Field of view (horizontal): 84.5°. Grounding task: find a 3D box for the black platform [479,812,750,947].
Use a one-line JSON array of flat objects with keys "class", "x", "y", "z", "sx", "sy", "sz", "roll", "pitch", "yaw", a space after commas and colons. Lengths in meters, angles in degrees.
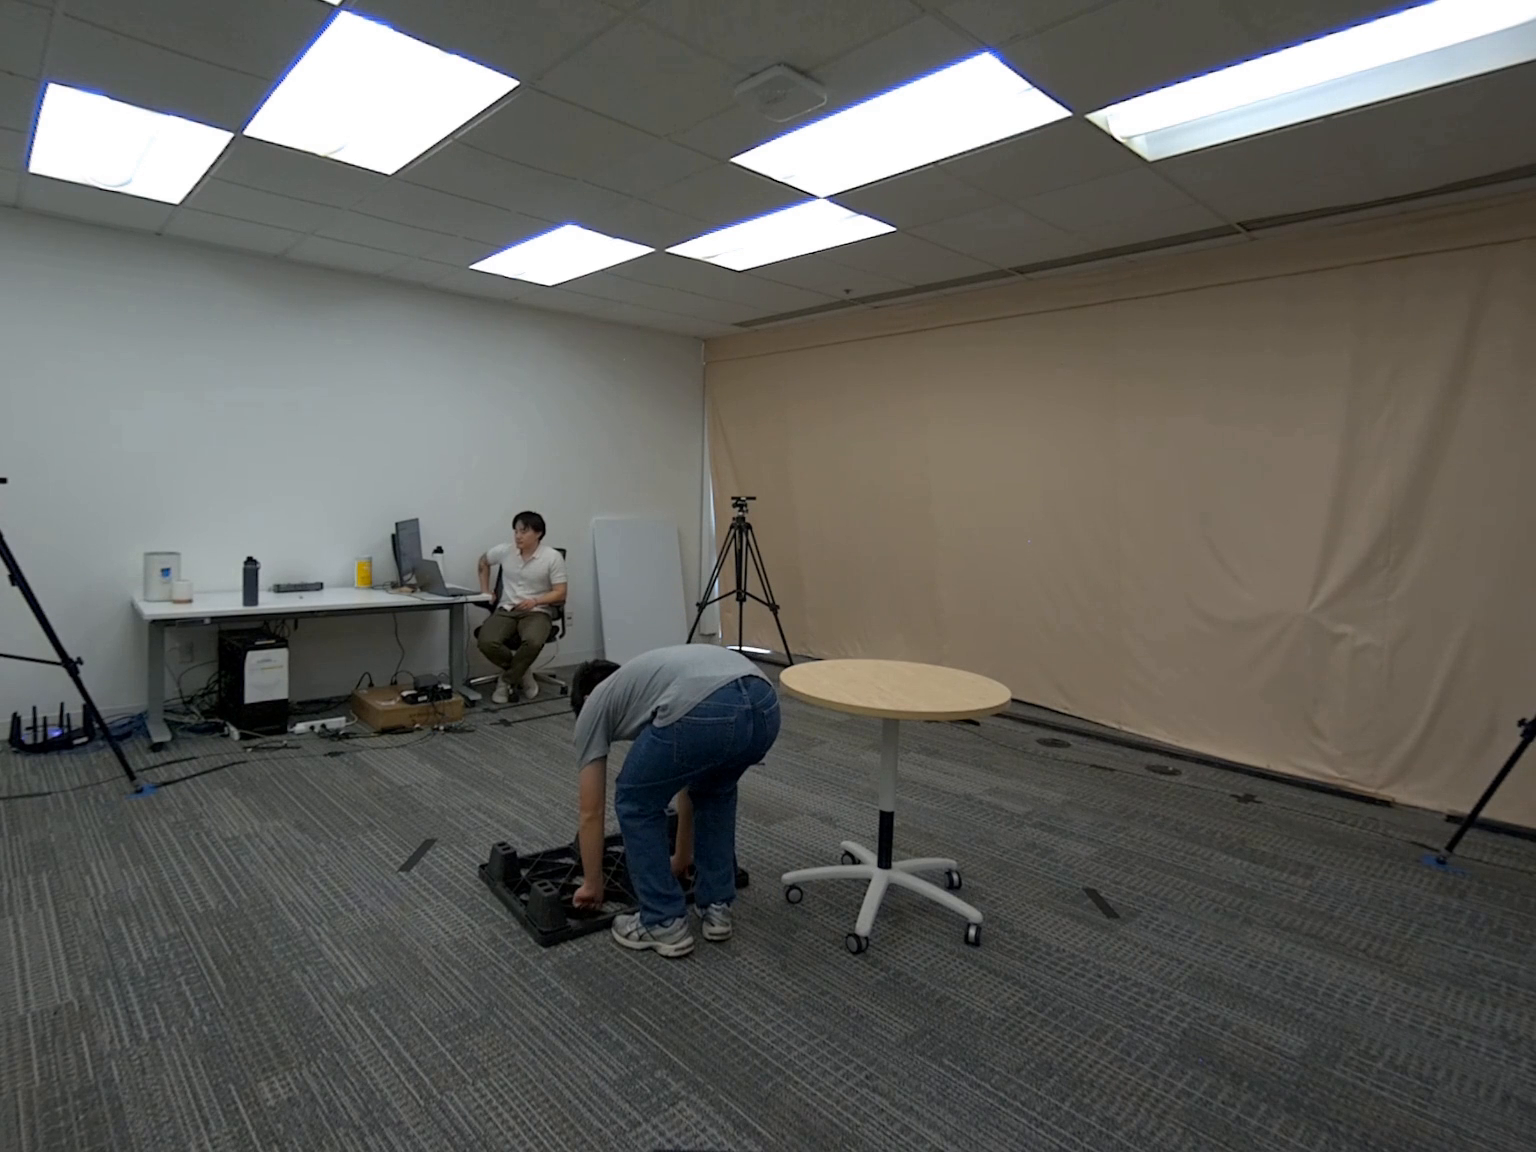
[{"class": "black platform", "x": -0.562, "y": 1.039, "z": 3.038, "sx": 0.788, "sy": 0.143, "sz": 0.620, "roll": -3, "pitch": 6, "yaw": -37}]
